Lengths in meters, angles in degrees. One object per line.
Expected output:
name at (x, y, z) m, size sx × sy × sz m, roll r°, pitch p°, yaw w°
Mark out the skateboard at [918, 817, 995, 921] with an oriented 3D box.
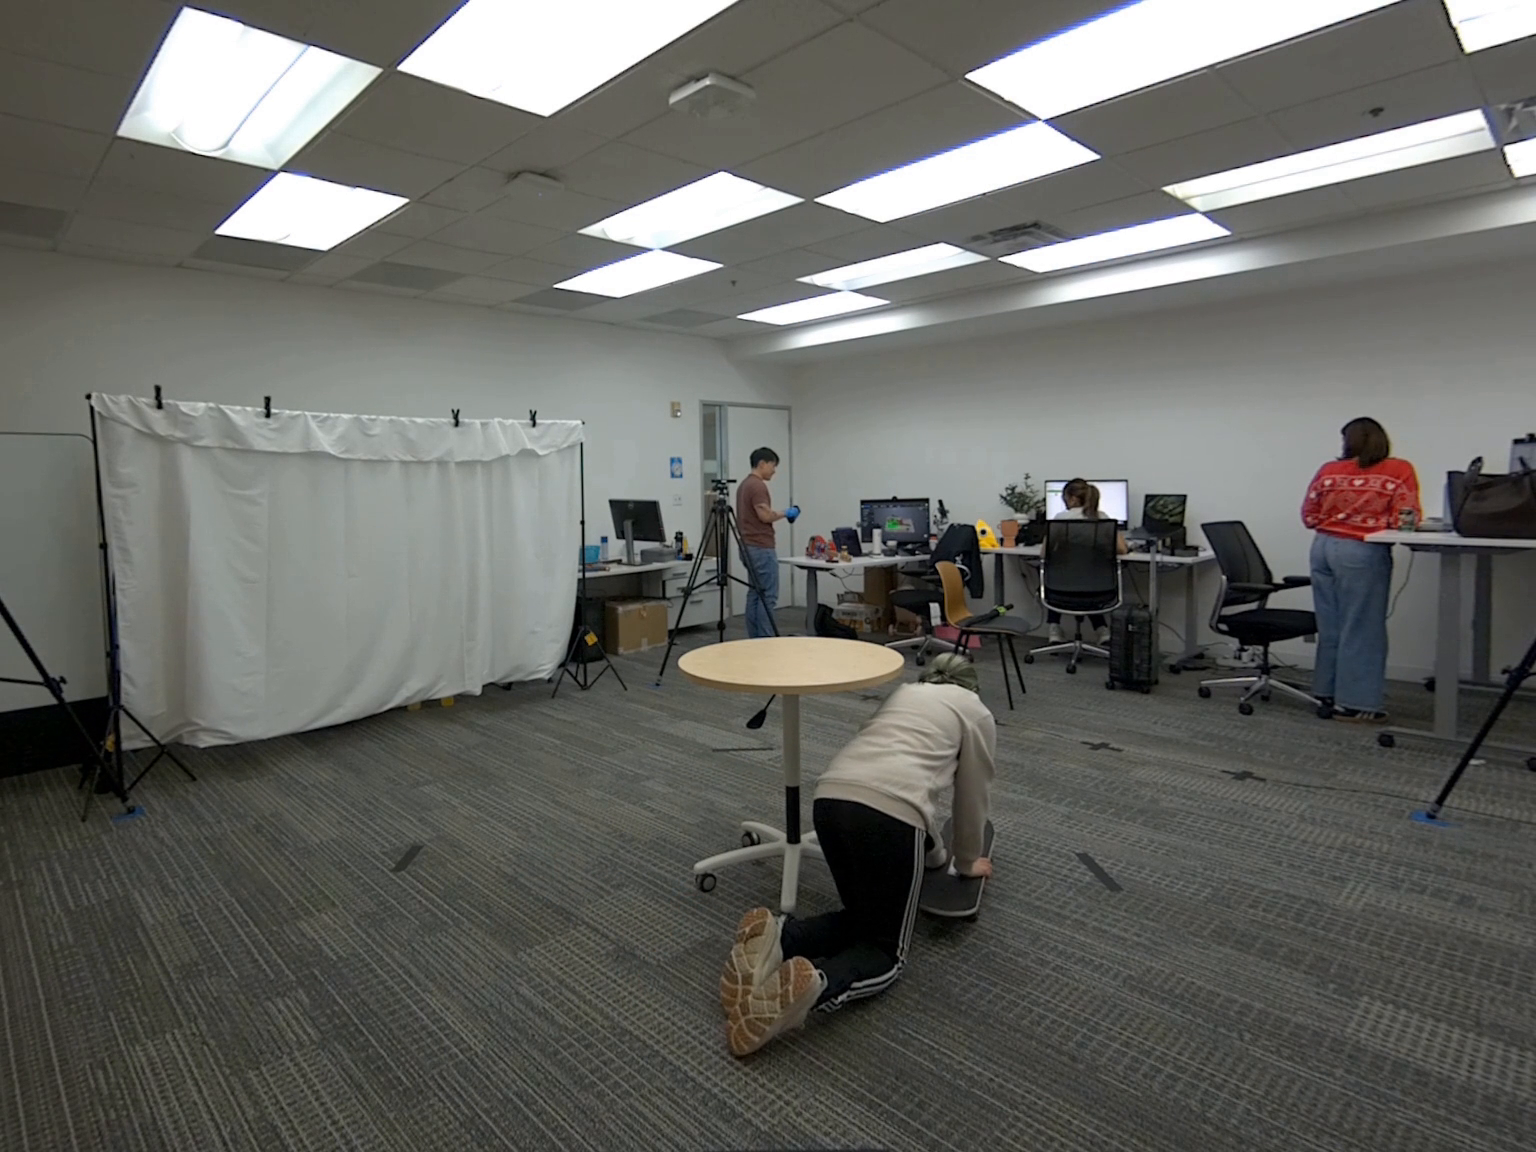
skateboard at (0.640, 0.989, 2.905) m, size 0.197 × 0.110 × 0.774 m, roll 0°, pitch 7°, yaw 20°
